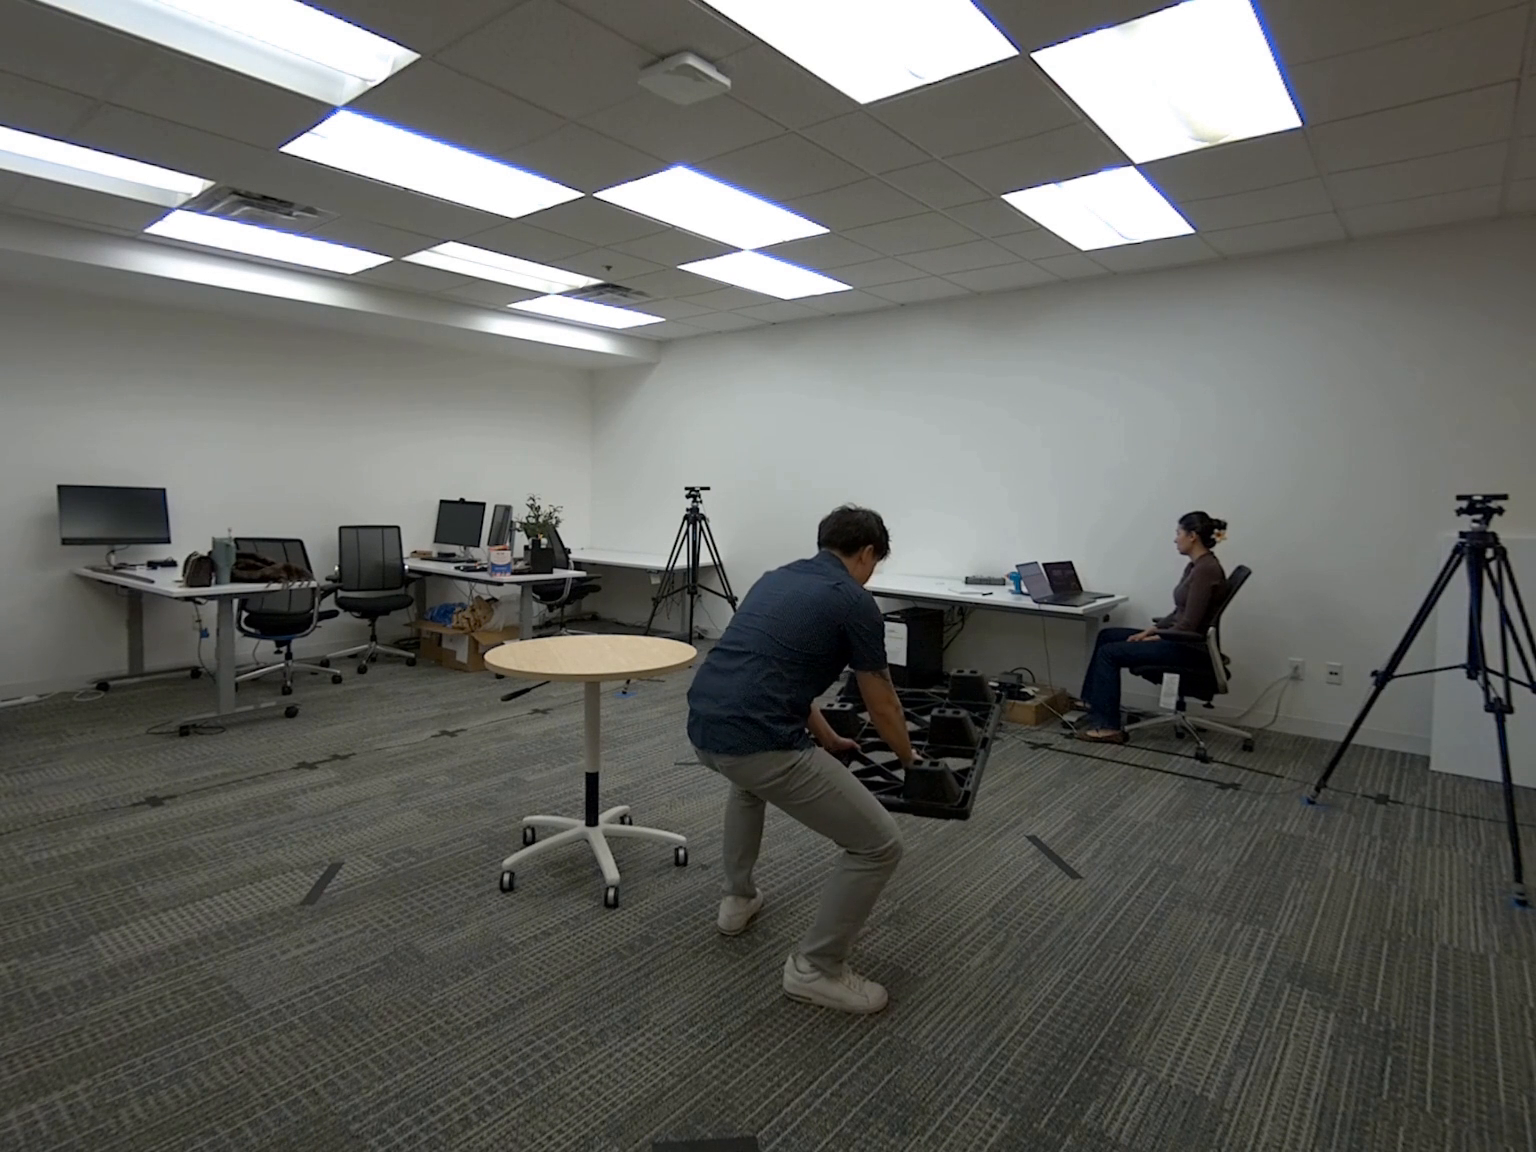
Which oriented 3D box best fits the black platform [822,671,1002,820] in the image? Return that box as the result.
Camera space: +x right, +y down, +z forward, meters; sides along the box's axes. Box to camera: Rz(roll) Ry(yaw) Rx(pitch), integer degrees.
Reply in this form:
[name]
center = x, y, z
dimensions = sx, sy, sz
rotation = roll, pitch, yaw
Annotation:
[black platform]
center = 0.408, 0.501, 2.765
dimensions = 0.619, 0.141, 0.798
rotation = -2, 16, 24
